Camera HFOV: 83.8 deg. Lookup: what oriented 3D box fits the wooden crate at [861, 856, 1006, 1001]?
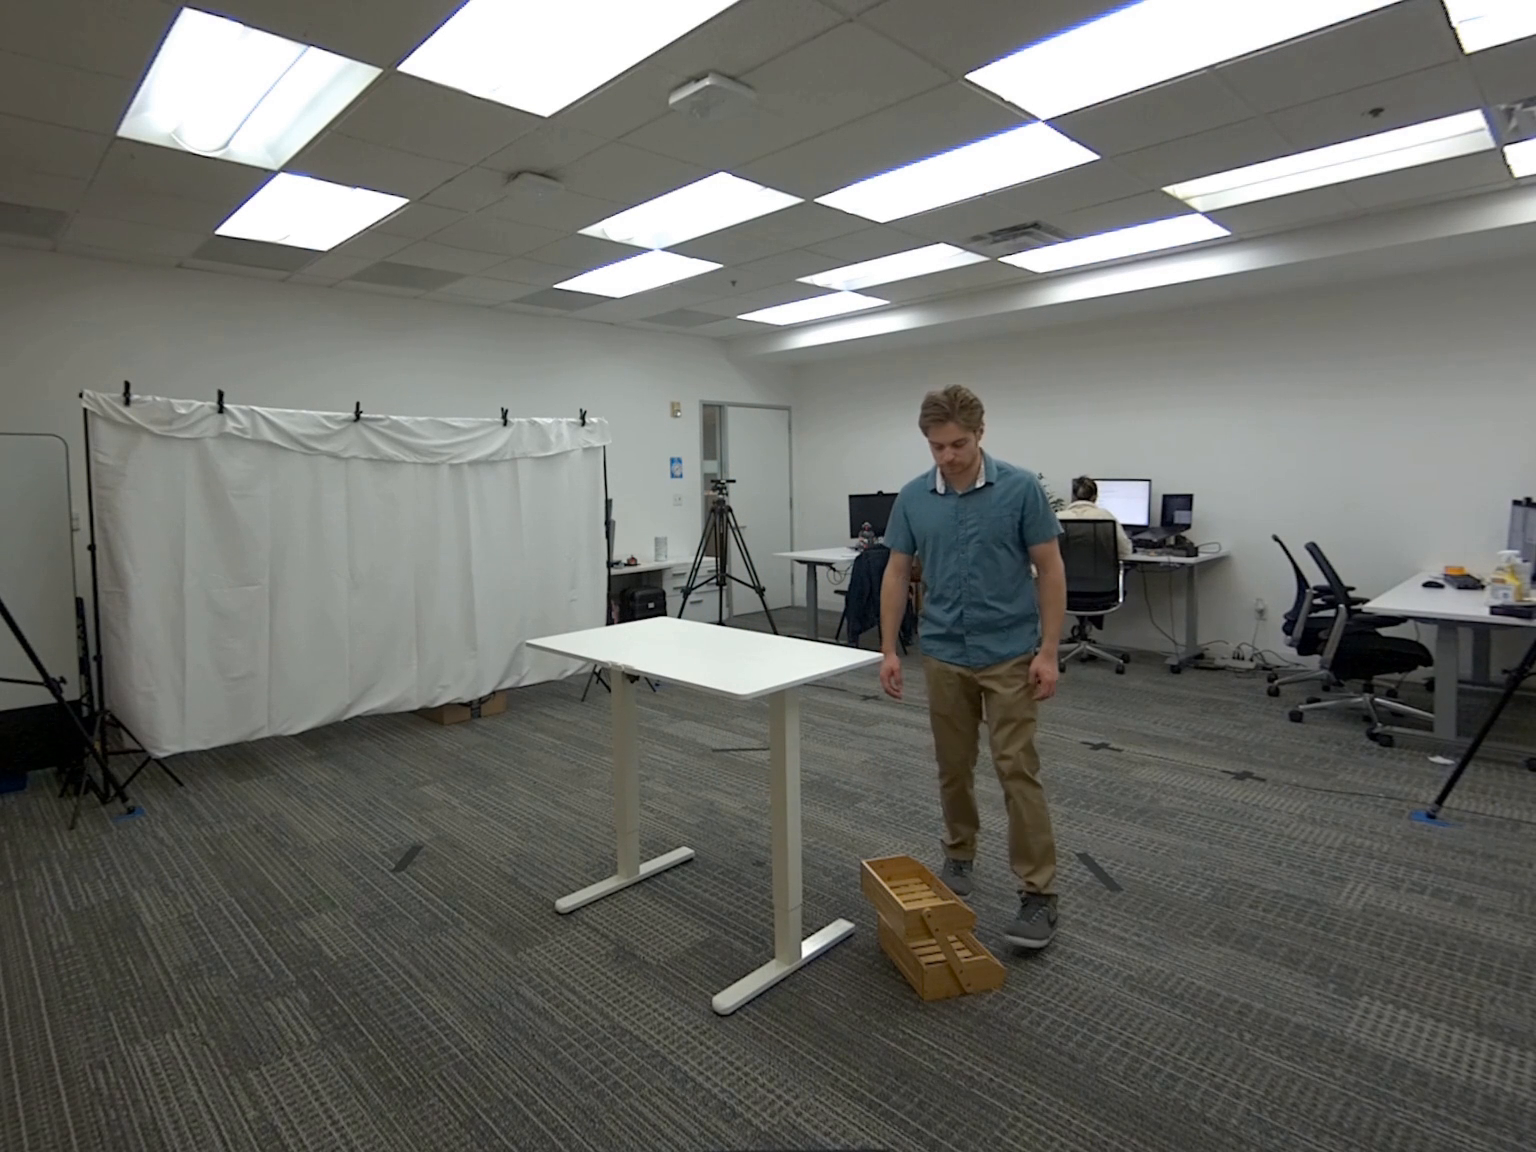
[{"bbox_3d":[0.474,0.985,2.433,0.298,0.272,0.330,-3,6,-16],"label":"wooden crate"}]
